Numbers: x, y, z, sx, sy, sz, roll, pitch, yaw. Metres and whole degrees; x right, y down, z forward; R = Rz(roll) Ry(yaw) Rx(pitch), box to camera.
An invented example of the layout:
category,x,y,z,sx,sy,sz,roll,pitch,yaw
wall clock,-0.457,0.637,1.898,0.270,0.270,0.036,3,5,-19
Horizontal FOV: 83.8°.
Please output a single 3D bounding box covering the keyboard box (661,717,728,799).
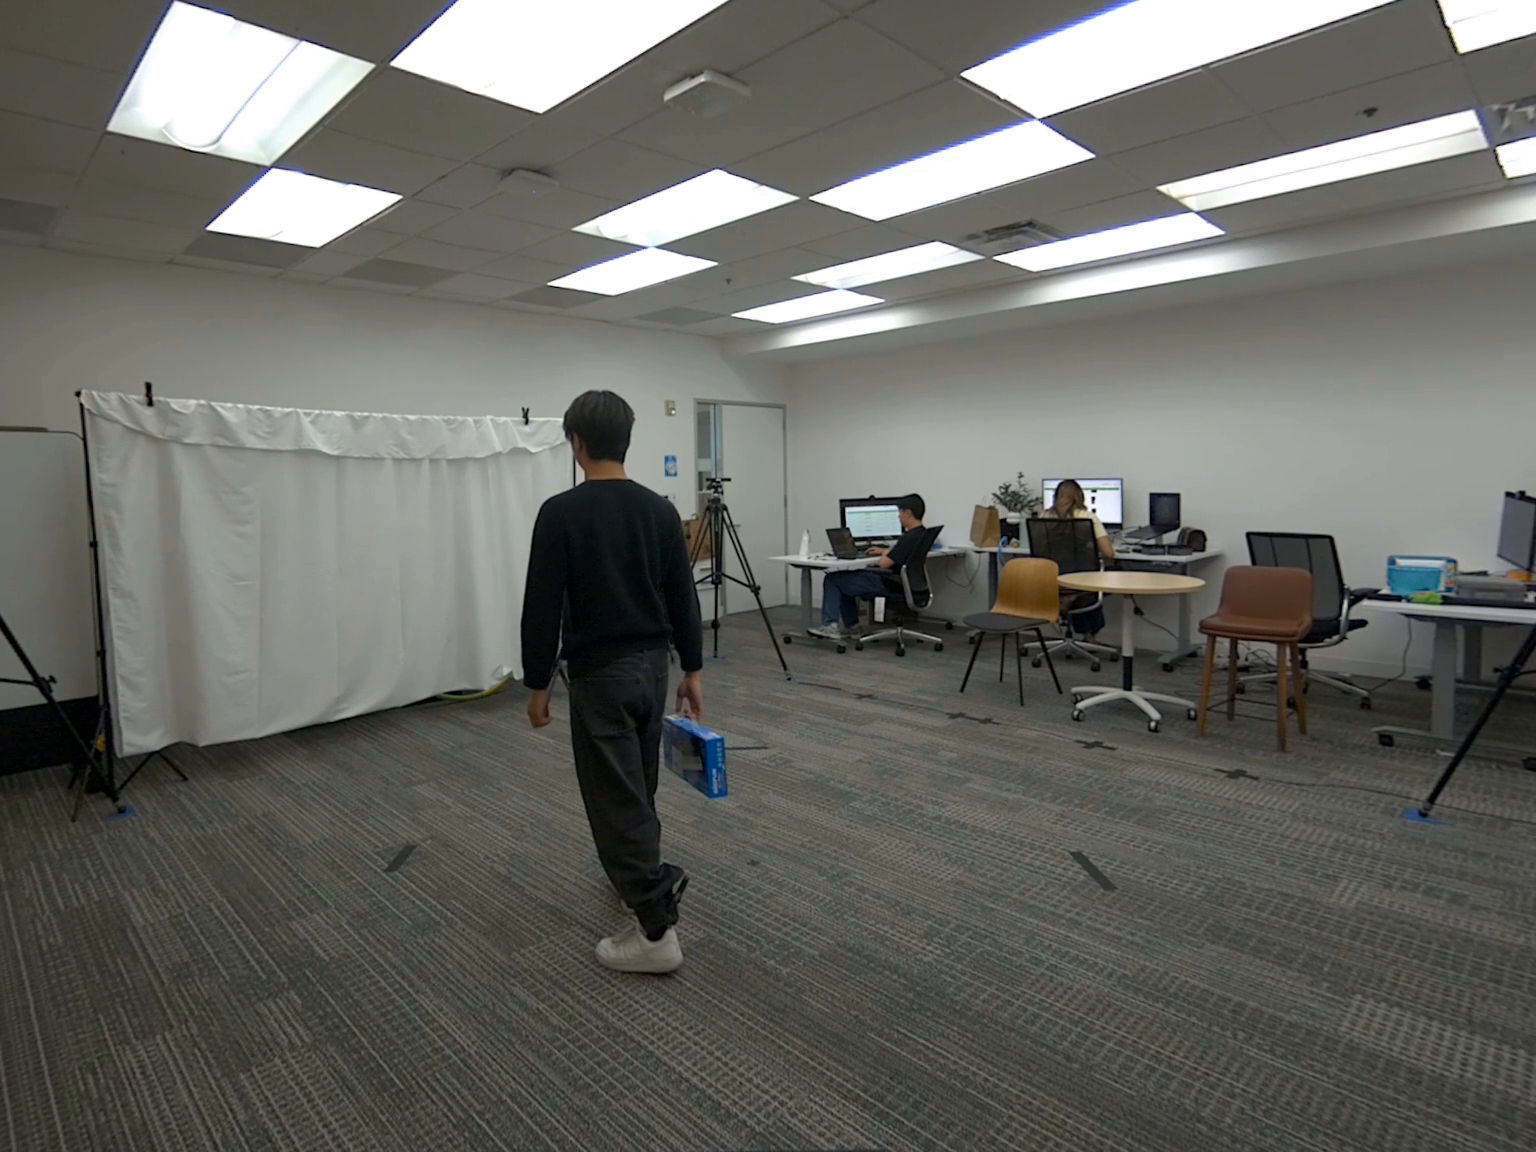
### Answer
category,x,y,z,sx,sy,sz,roll,pitch,yaw
keyboard box,-0.237,0.554,2.692,0.058,0.176,0.445,-2,1,-23
